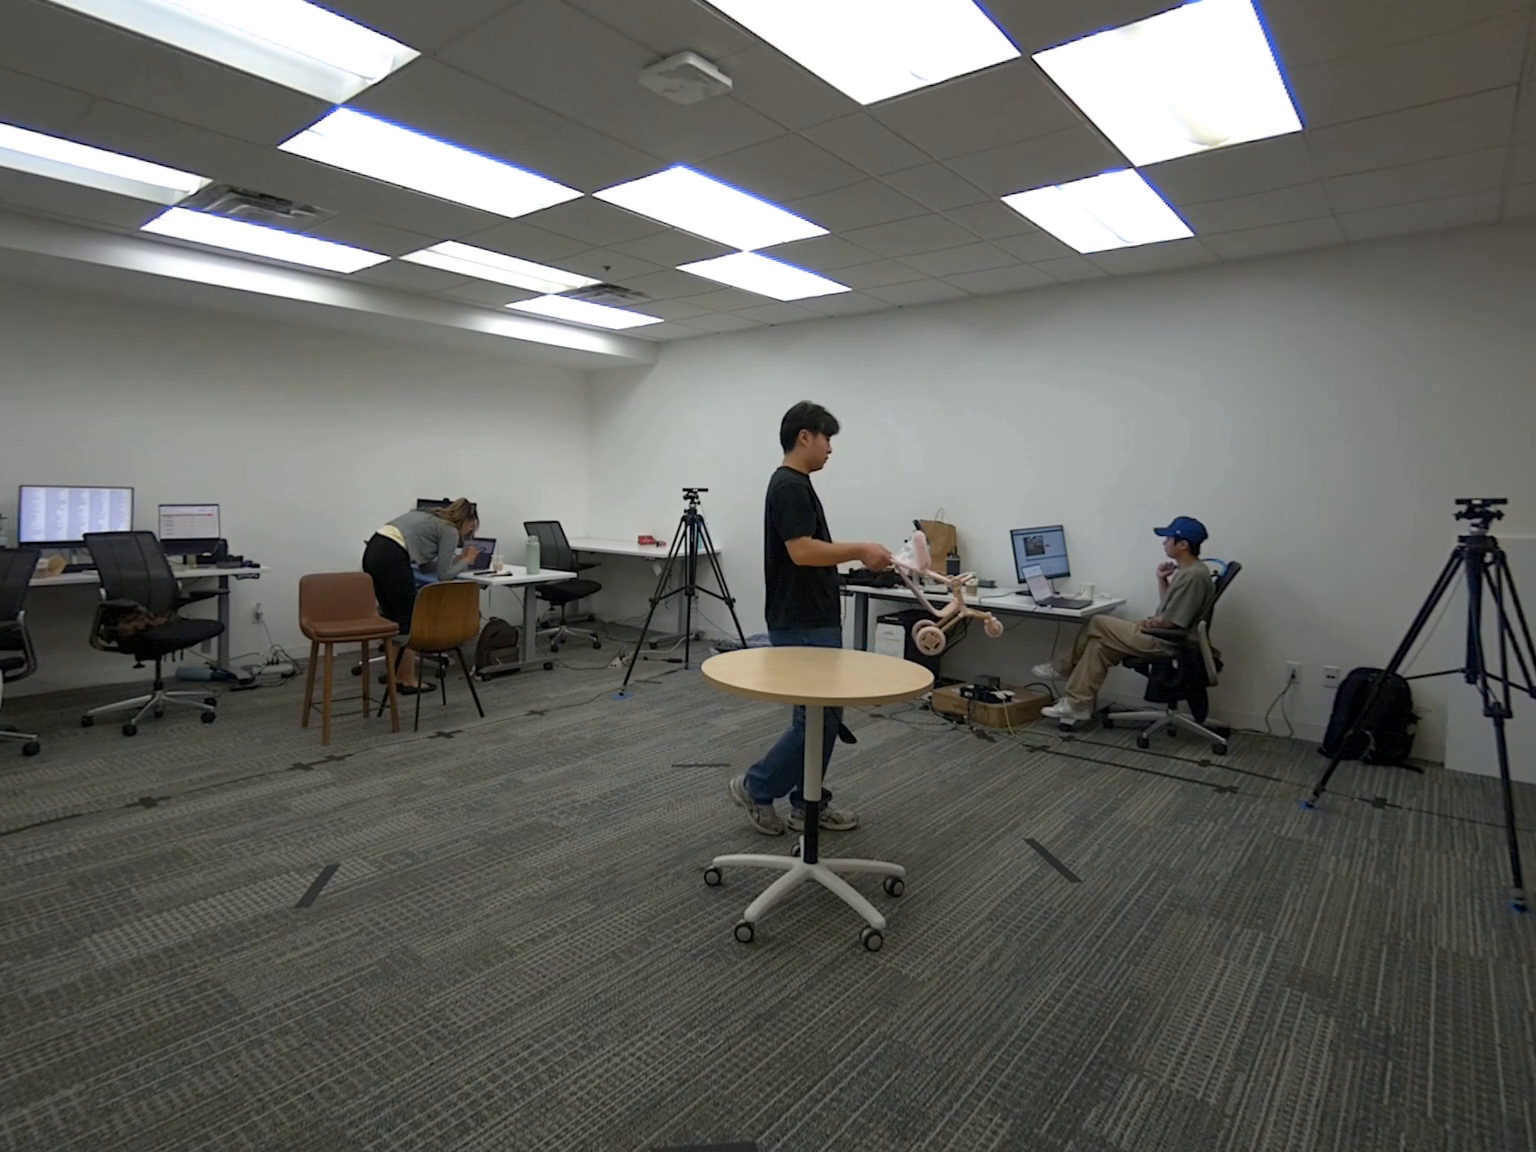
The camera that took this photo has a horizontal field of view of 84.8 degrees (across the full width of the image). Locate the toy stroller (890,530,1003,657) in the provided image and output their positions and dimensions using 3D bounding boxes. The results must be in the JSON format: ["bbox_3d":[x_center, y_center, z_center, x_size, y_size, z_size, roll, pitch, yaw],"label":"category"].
[{"bbox_3d":[0.649,0.058,3.349,0.343,0.538,0.278,-28,-4,13],"label":"toy stroller"}]
